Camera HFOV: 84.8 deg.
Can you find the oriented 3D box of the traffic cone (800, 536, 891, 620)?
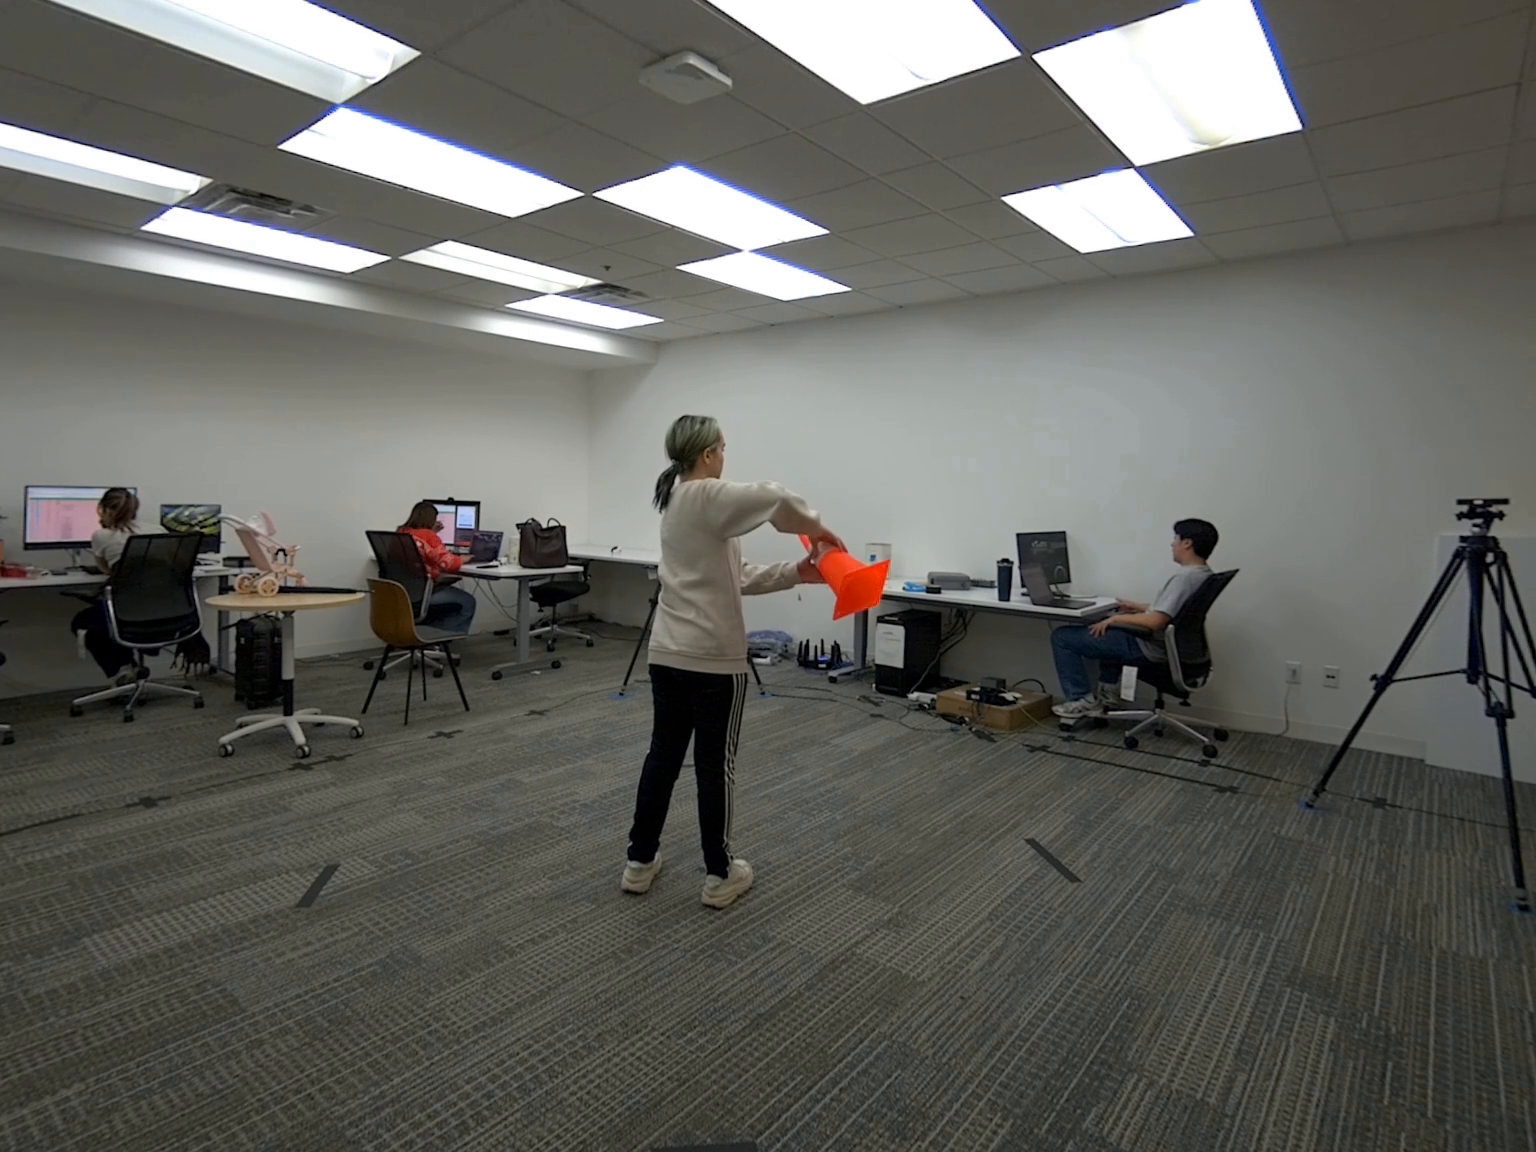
[{"bbox_3d":[0.187,-0.060,2.881,0.200,0.200,0.400,-17,44,-28],"label":"traffic cone"}]
